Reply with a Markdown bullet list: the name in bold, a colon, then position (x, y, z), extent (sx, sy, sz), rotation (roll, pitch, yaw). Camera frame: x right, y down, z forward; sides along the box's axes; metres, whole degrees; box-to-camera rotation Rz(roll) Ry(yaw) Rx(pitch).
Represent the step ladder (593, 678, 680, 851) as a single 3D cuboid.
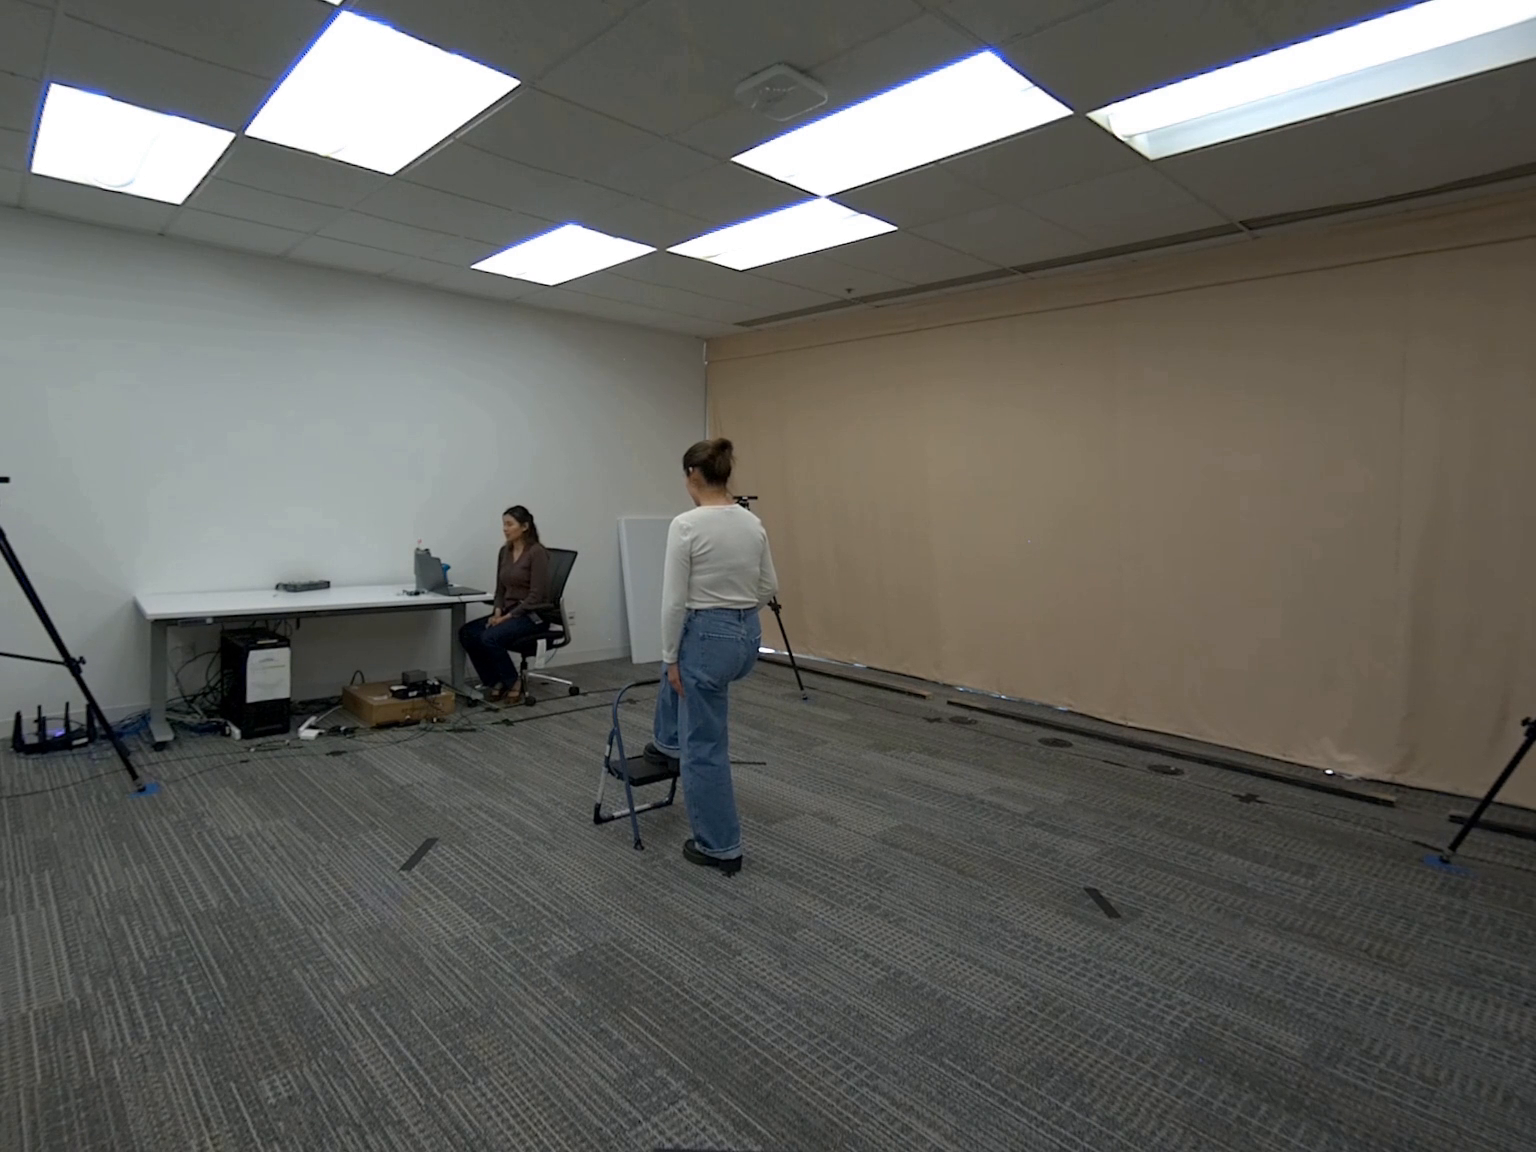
- **step ladder**: position (-0.475, 0.754, 3.555), extent (0.421, 0.605, 0.358), rotation (-2, 4, -44)
